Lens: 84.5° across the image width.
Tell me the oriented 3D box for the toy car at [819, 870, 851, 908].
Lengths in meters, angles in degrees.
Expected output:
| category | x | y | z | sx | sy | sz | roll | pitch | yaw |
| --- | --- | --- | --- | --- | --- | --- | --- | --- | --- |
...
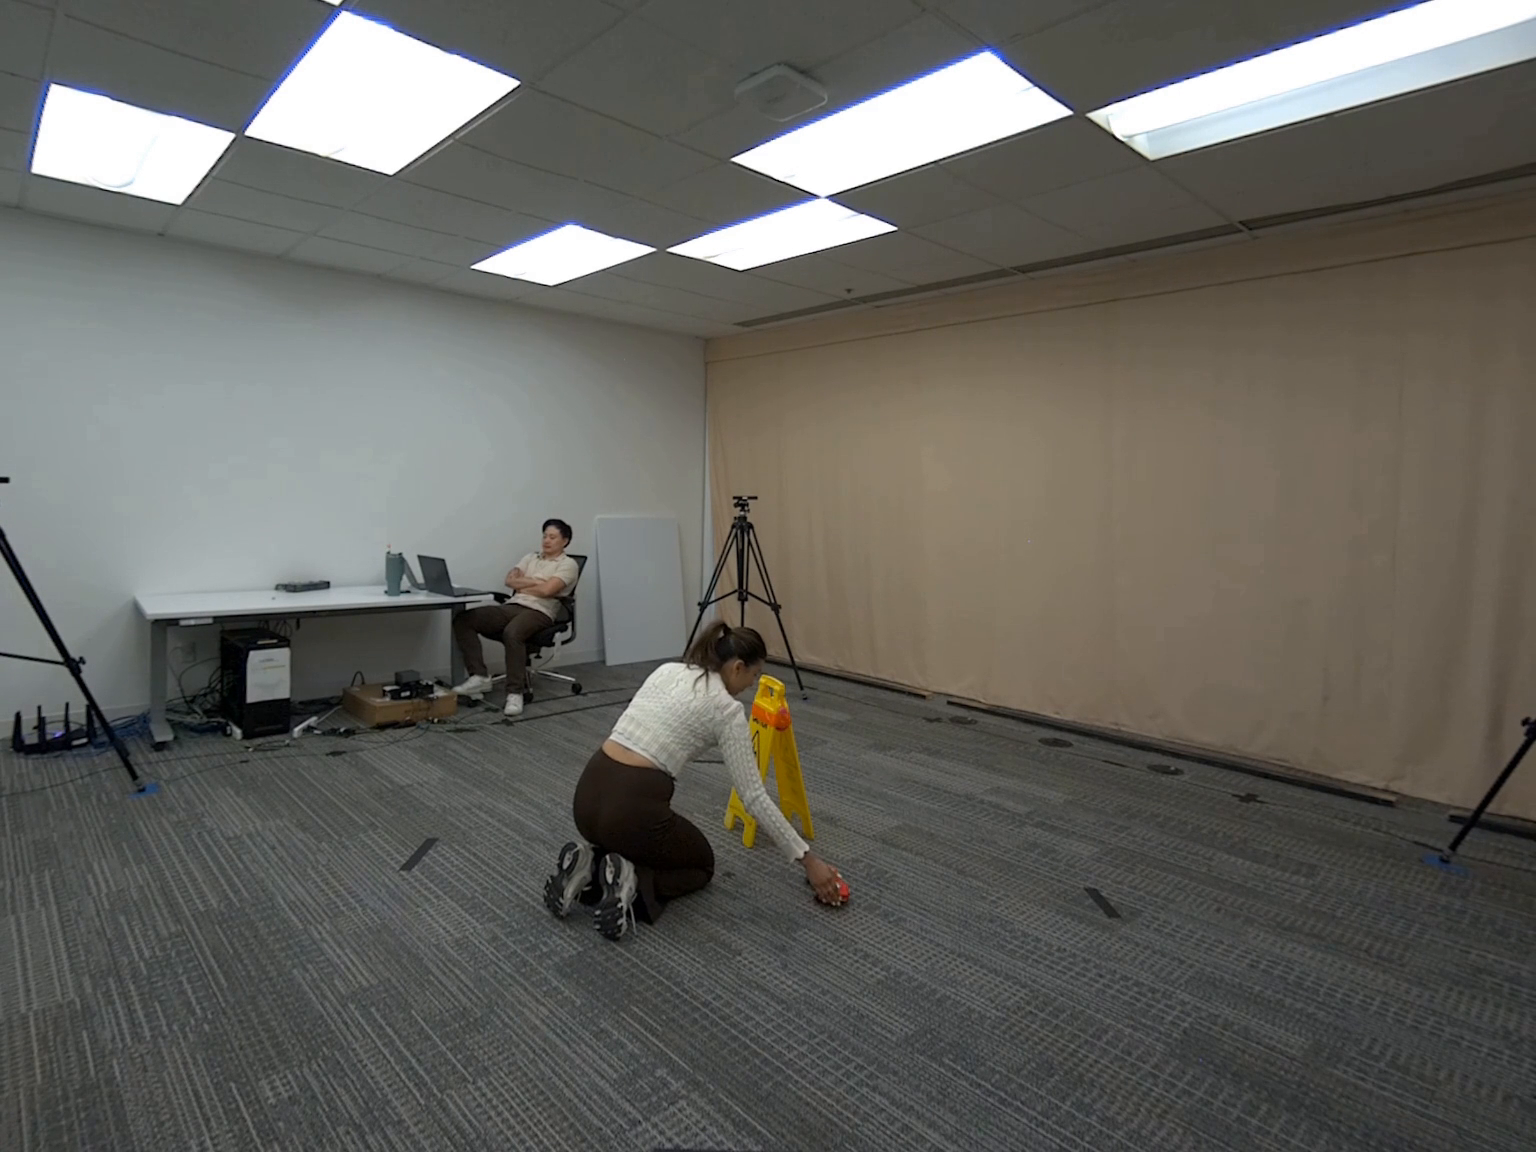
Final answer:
| category | x | y | z | sx | sy | sz | roll | pitch | yaw |
| --- | --- | --- | --- | --- | --- | --- | --- | --- | --- |
| toy car | 0.201 | 1.091 | 2.967 | 0.129 | 0.083 | 0.255 | 1 | -6 | -9 |
